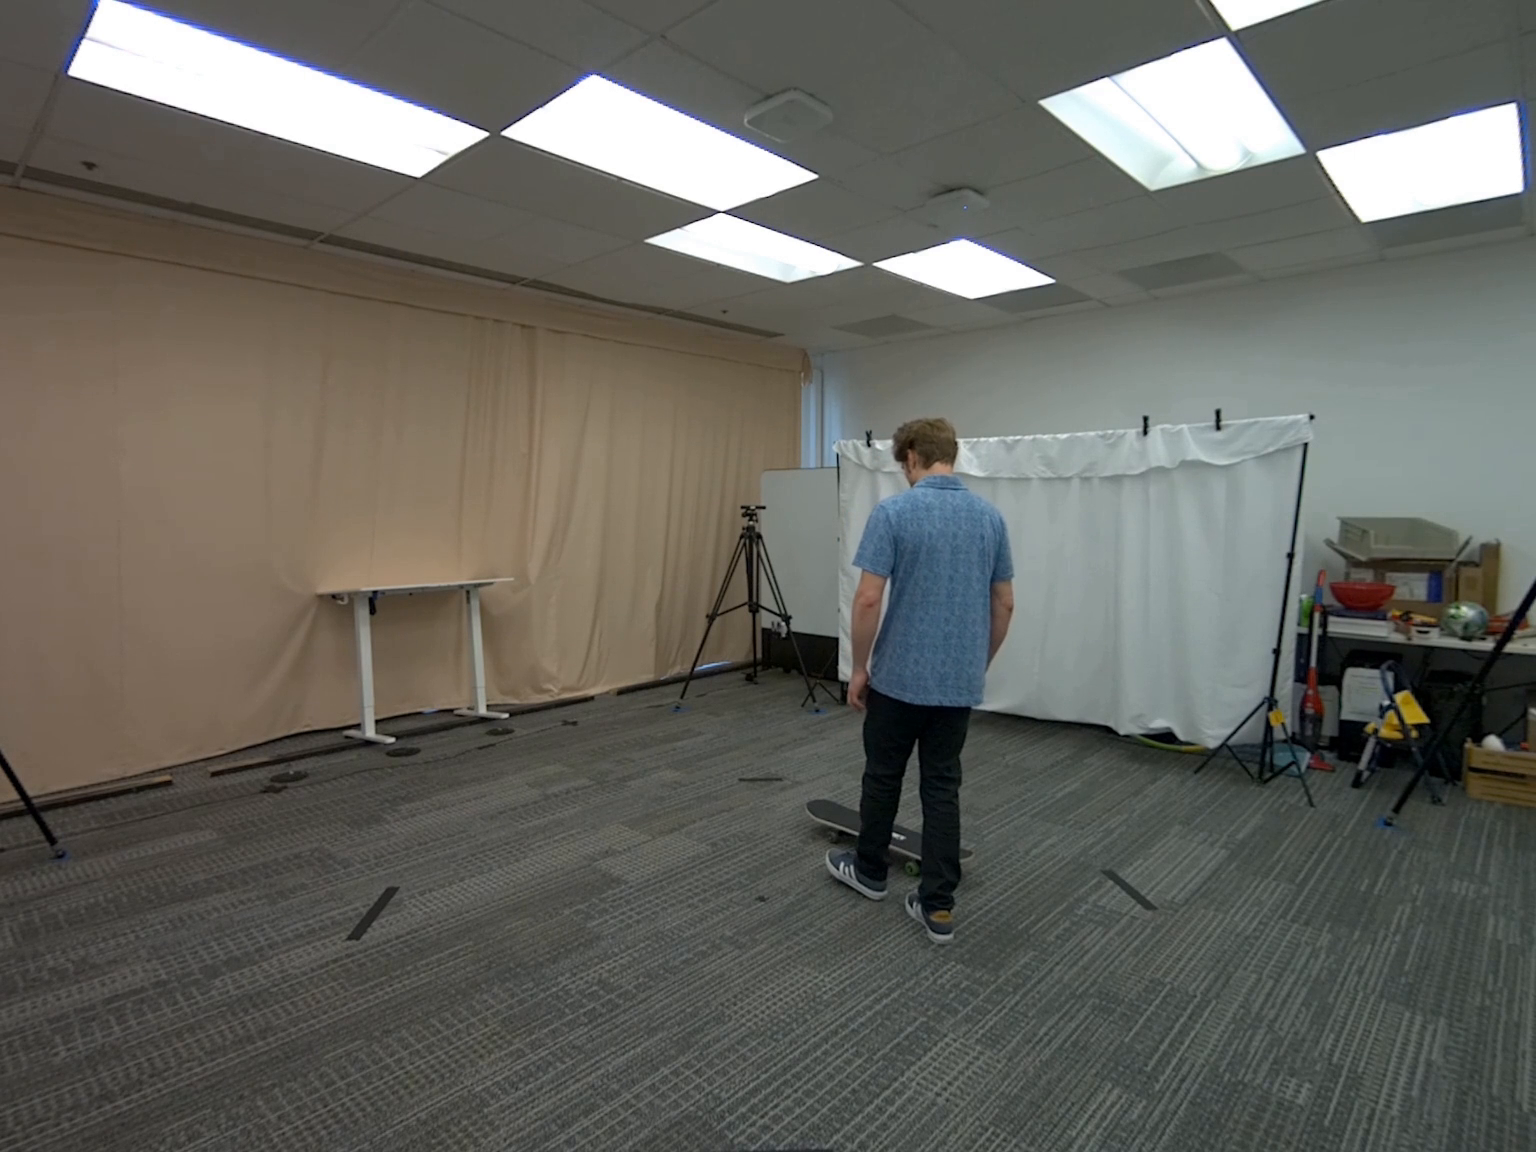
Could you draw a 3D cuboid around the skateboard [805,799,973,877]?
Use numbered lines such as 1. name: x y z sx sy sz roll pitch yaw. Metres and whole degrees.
1. skateboard: 0.466 1.052 3.370 0.187 0.110 0.812 -3 6 -42
